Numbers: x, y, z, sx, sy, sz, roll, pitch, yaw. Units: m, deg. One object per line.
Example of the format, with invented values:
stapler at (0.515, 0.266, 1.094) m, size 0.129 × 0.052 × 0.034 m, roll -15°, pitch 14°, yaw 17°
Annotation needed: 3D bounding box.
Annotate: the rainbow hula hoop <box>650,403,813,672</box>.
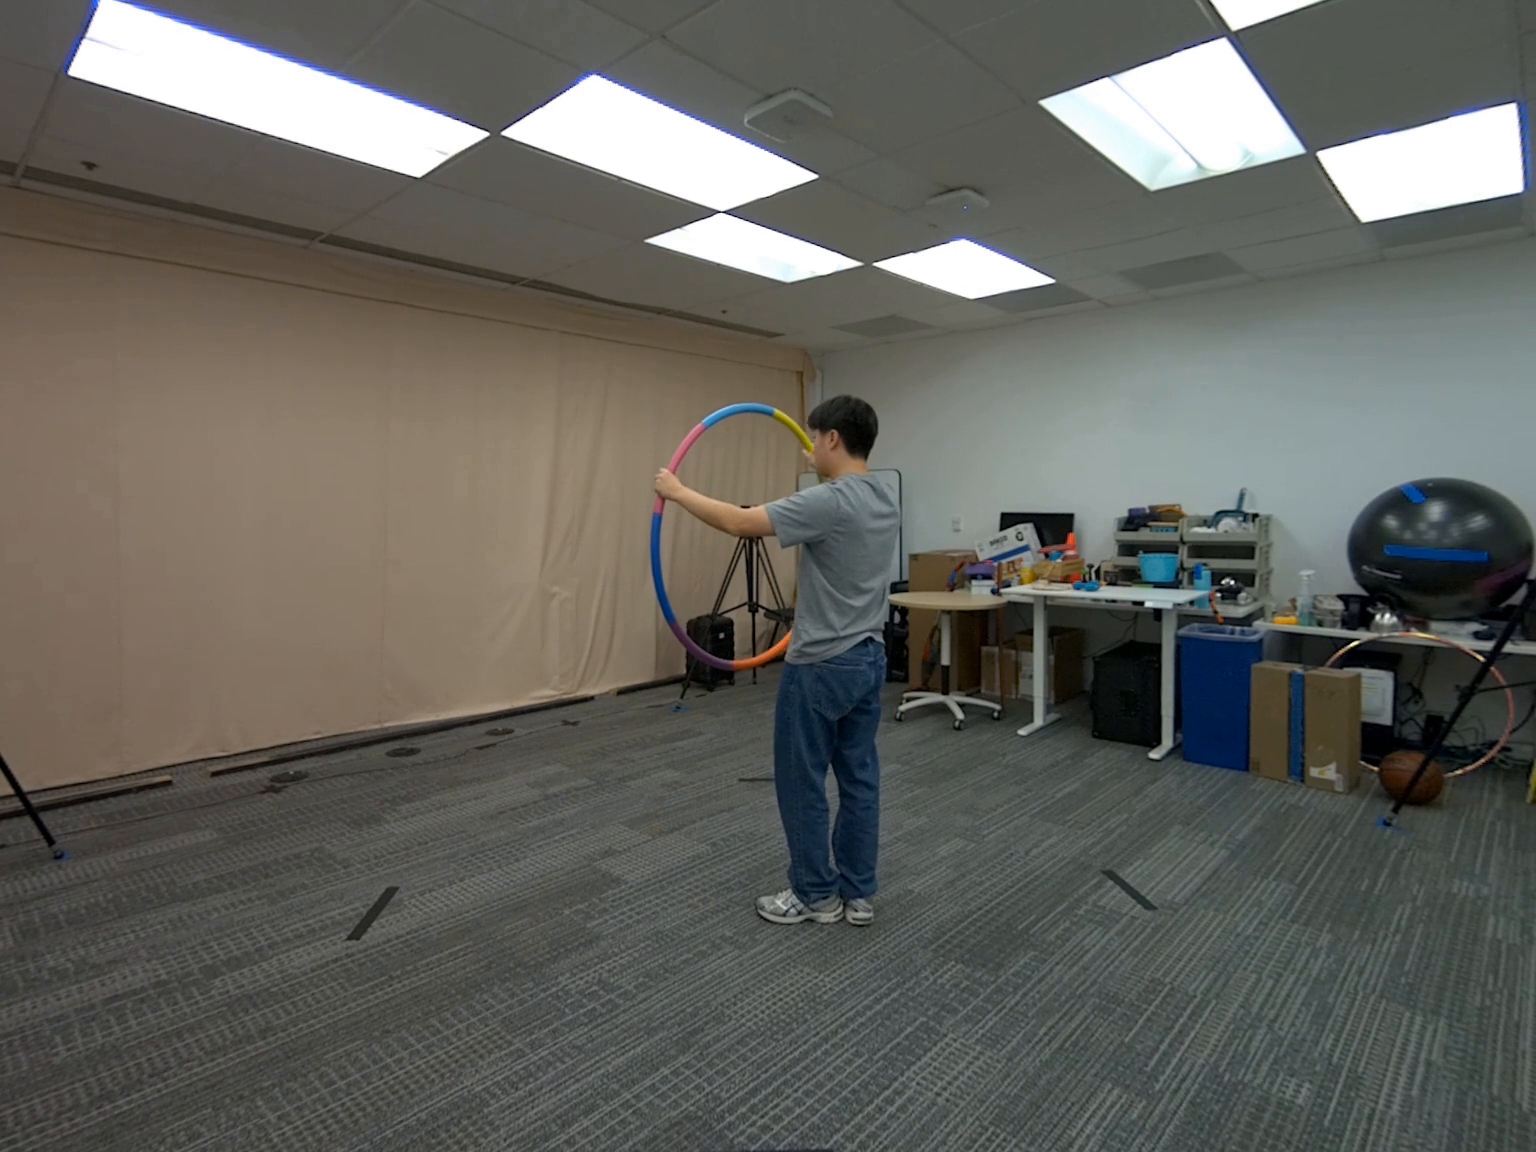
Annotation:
rainbow hula hoop at (-0.055, -0.139, 3.135) m, size 0.037 × 0.975 × 0.949 m, roll 6°, pitch 7°, yaw 43°
